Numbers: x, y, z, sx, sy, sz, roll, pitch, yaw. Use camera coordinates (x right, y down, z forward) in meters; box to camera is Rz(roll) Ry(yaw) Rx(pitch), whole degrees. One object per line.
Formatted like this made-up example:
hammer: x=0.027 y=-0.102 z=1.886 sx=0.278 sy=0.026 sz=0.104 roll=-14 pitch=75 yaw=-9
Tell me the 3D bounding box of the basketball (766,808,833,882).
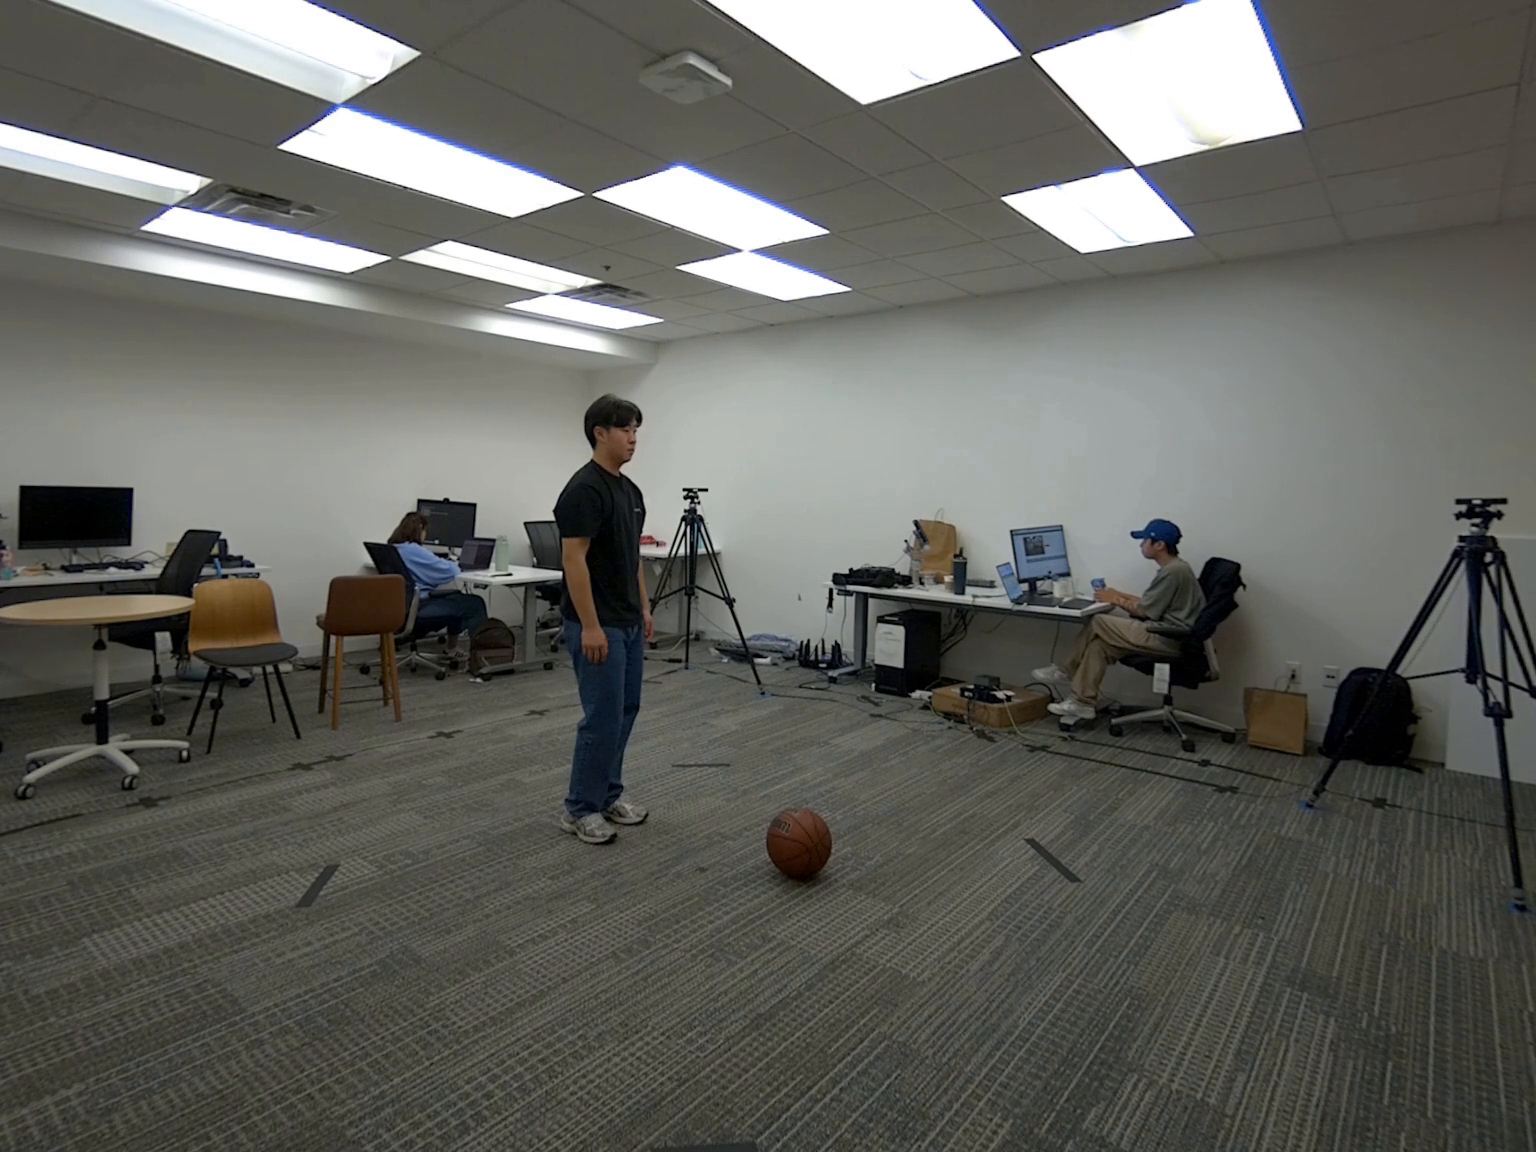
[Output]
basketball: x=0.099 y=0.955 z=3.077 sx=0.235 sy=0.235 sz=0.237 roll=1 pitch=4 yaw=-2
